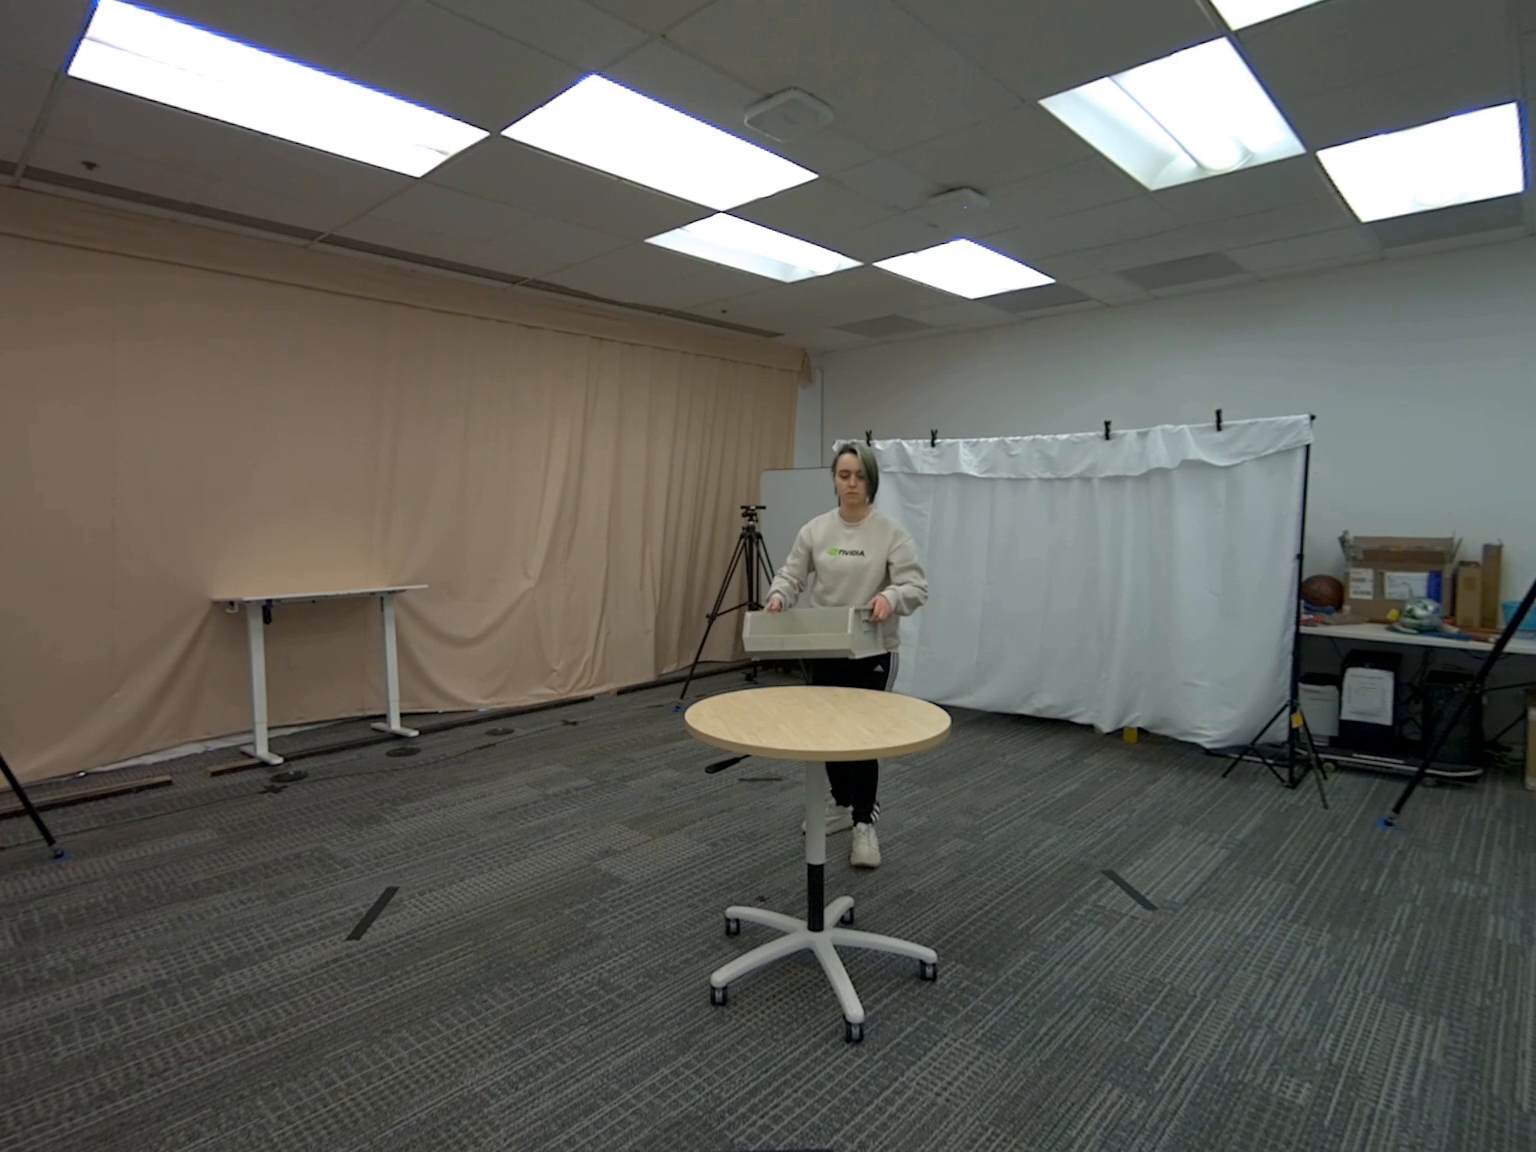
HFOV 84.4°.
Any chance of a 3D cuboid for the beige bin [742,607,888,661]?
[{"bbox_3d":[0.177,0.208,3.098,0.433,0.190,0.366,-4,-5,28],"label":"beige bin"}]
